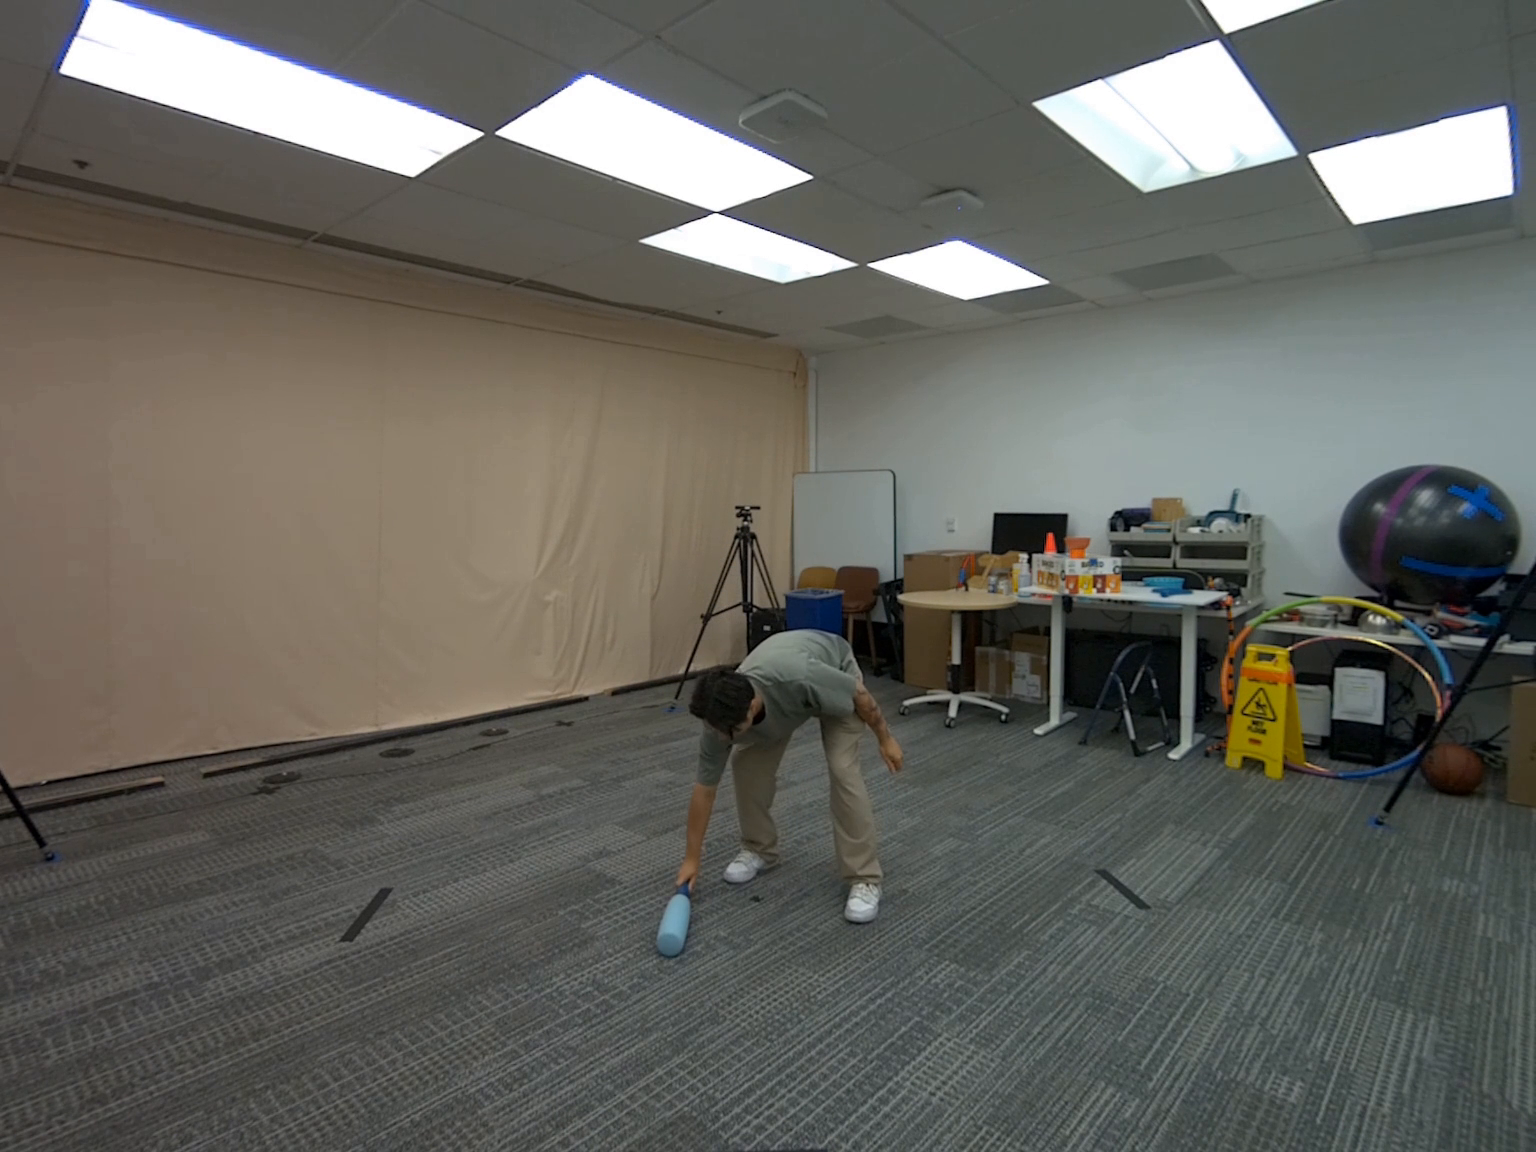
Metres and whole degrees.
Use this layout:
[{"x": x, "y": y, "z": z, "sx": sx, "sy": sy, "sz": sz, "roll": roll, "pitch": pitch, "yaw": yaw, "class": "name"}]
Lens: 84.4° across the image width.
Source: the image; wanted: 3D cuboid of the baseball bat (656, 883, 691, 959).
[{"x": -0.300, "y": 1.099, "z": 2.854, "sx": 0.089, "sy": 0.089, "sz": 0.544, "roll": 0, "pitch": 6, "yaw": 0, "class": "baseball bat"}]
